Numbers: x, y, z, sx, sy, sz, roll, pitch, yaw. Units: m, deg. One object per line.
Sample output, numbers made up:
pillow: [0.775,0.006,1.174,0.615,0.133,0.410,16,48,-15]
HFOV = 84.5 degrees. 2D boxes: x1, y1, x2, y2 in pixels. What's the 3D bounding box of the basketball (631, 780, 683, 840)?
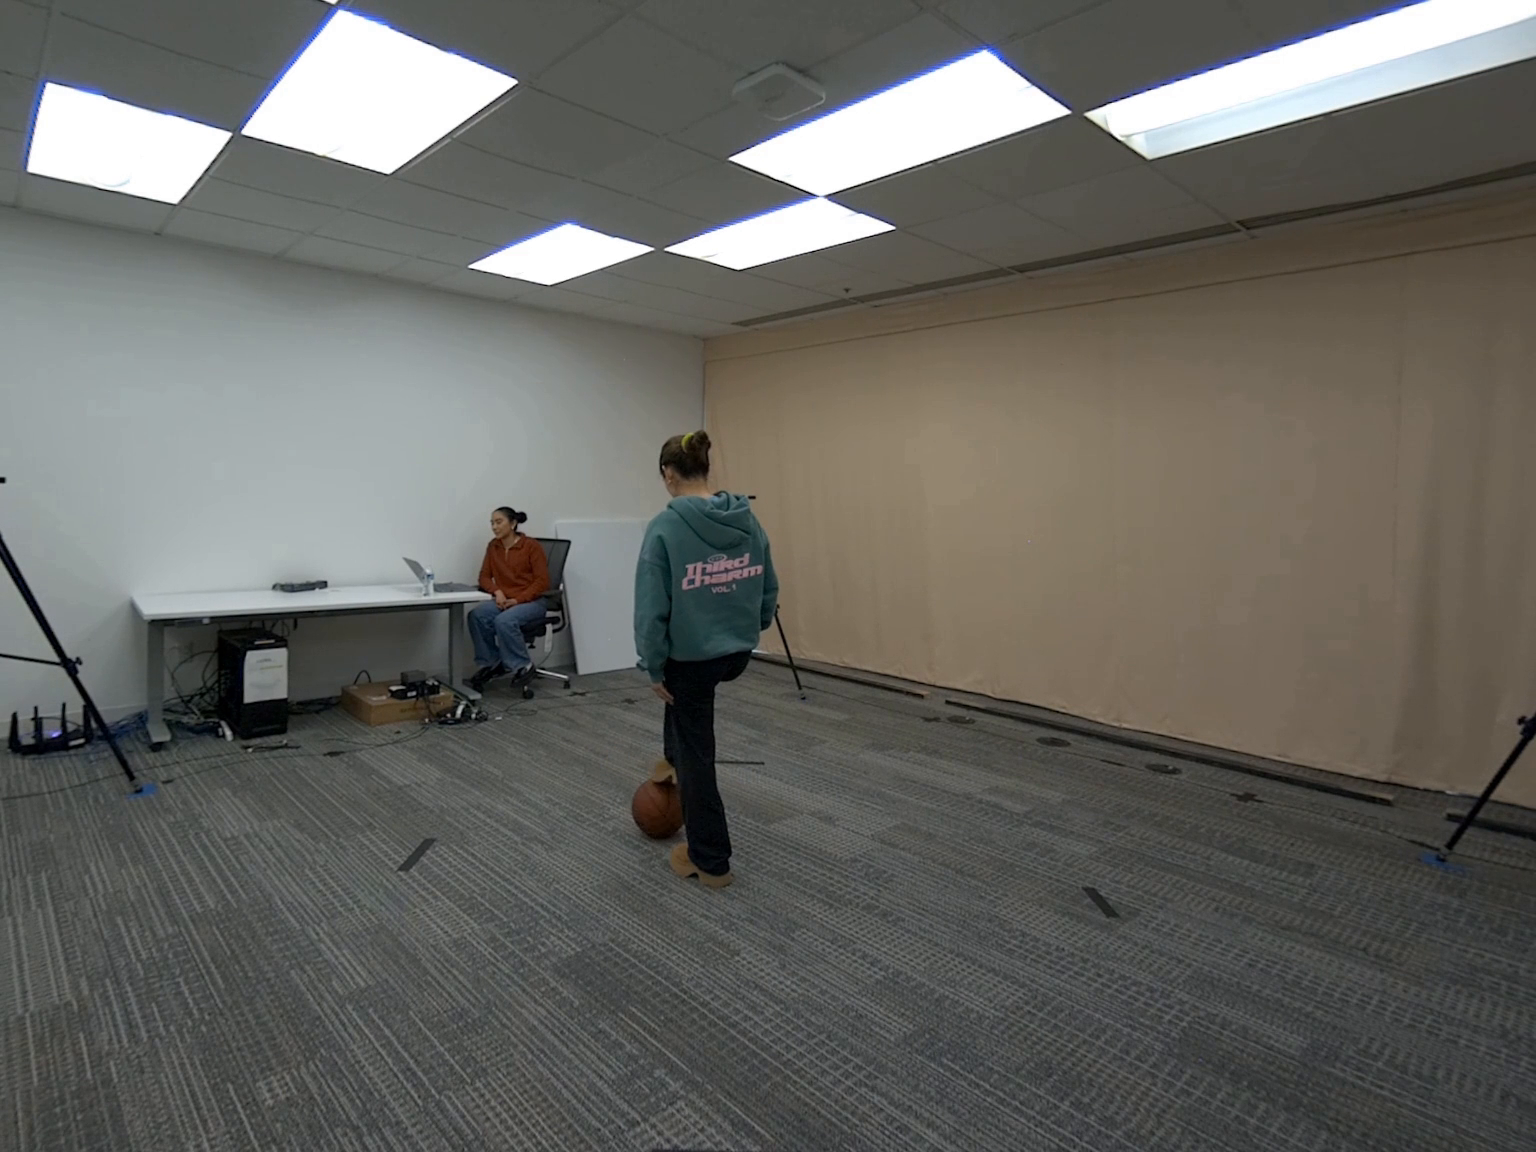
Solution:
basketball: [-0.449,0.946,3.450,0.236,0.235,0.237,1,4,-1]
